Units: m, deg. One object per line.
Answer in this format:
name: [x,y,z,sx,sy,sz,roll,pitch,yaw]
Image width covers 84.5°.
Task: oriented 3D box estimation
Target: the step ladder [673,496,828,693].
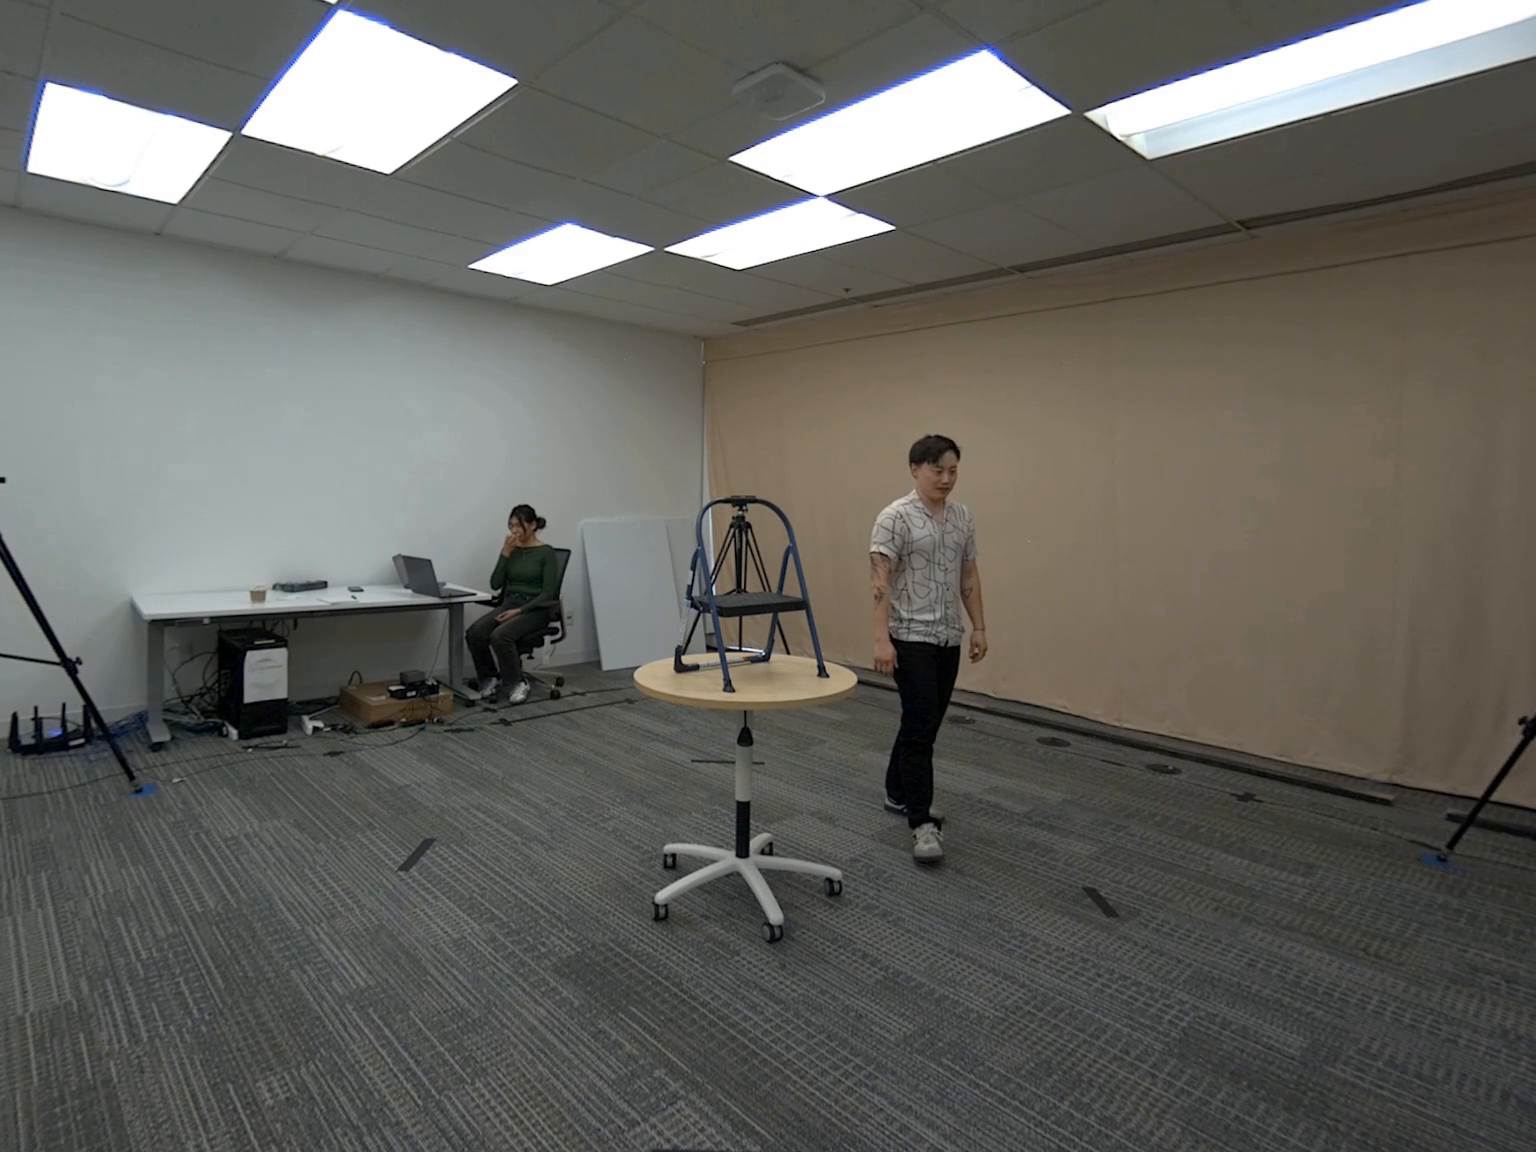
step ladder: [-0.058,0.039,2.867,0.421,0.604,0.358,-2,5,-38]
